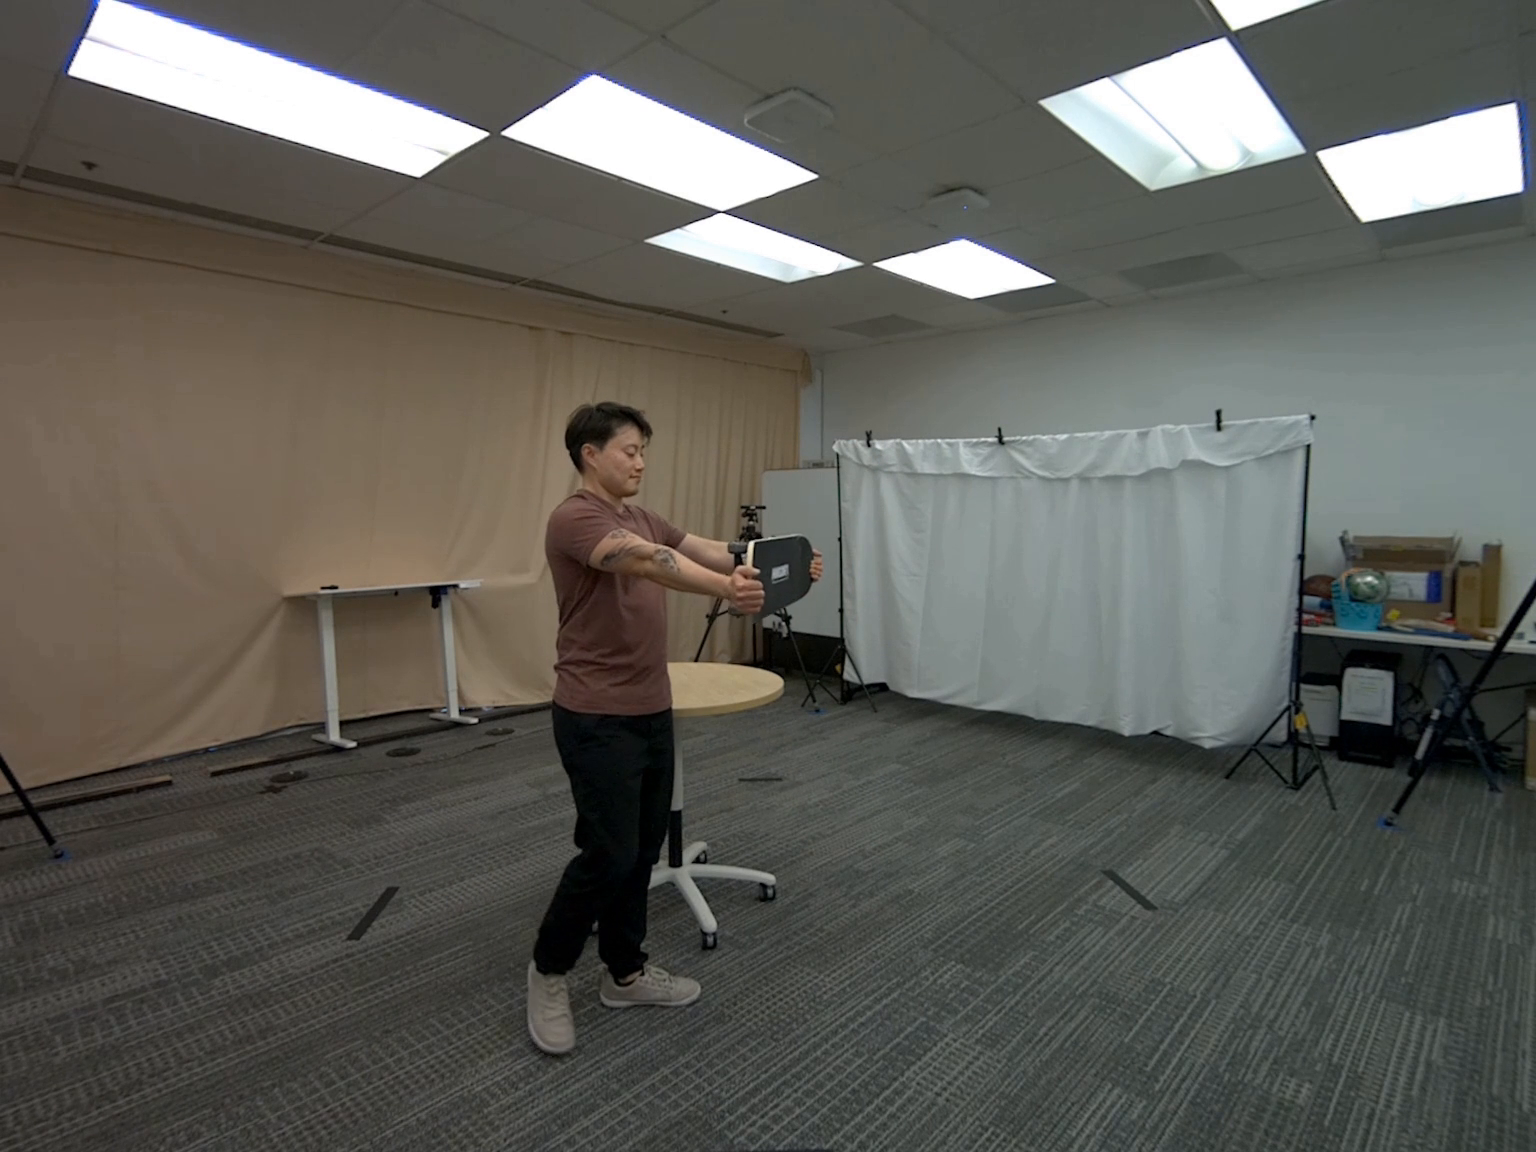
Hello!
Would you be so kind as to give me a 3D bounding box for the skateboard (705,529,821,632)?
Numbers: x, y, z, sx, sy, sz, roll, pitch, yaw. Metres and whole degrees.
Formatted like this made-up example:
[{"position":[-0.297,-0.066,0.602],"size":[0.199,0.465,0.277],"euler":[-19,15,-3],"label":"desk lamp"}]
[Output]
[{"position":[0.009,-0.012,2.247],"size":[0.112,0.193,0.774],"euler":[6,6,13],"label":"skateboard"}]
